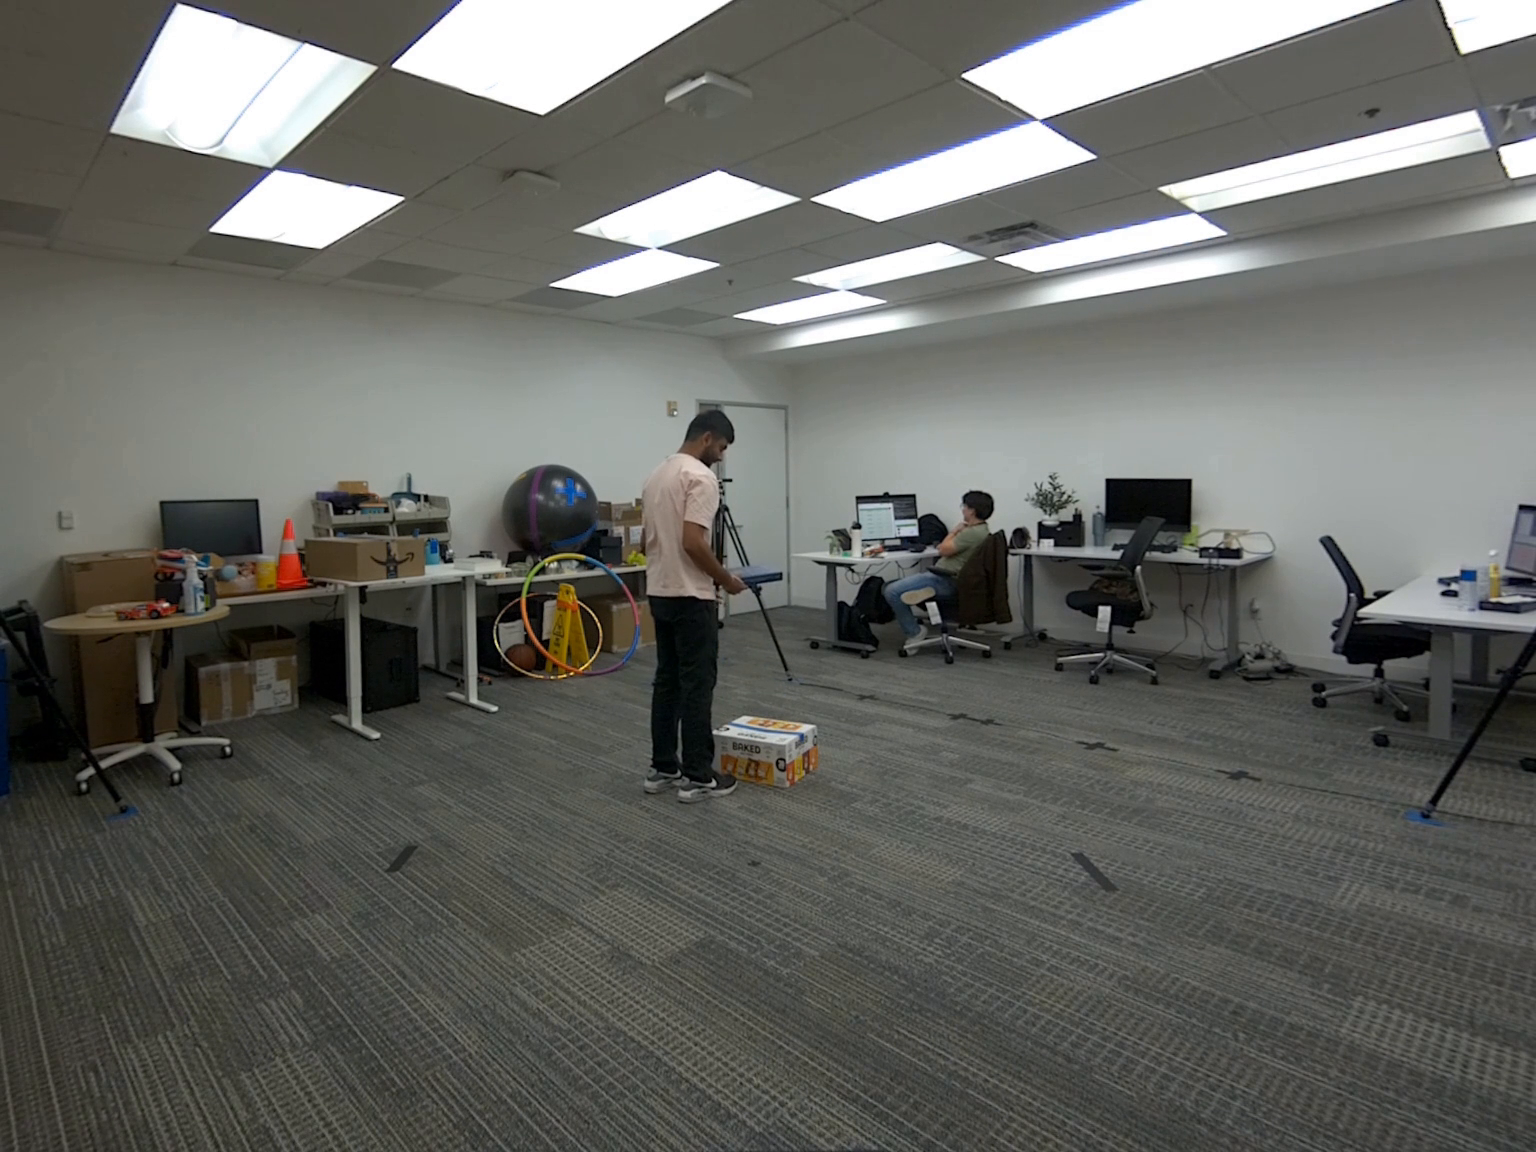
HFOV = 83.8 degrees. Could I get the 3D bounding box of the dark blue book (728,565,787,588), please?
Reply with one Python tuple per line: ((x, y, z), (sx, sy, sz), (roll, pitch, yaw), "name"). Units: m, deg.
((-0.068, 0.000, 3.851), (0.240, 0.045, 0.168), (-8, 15, -28), "dark blue book")
